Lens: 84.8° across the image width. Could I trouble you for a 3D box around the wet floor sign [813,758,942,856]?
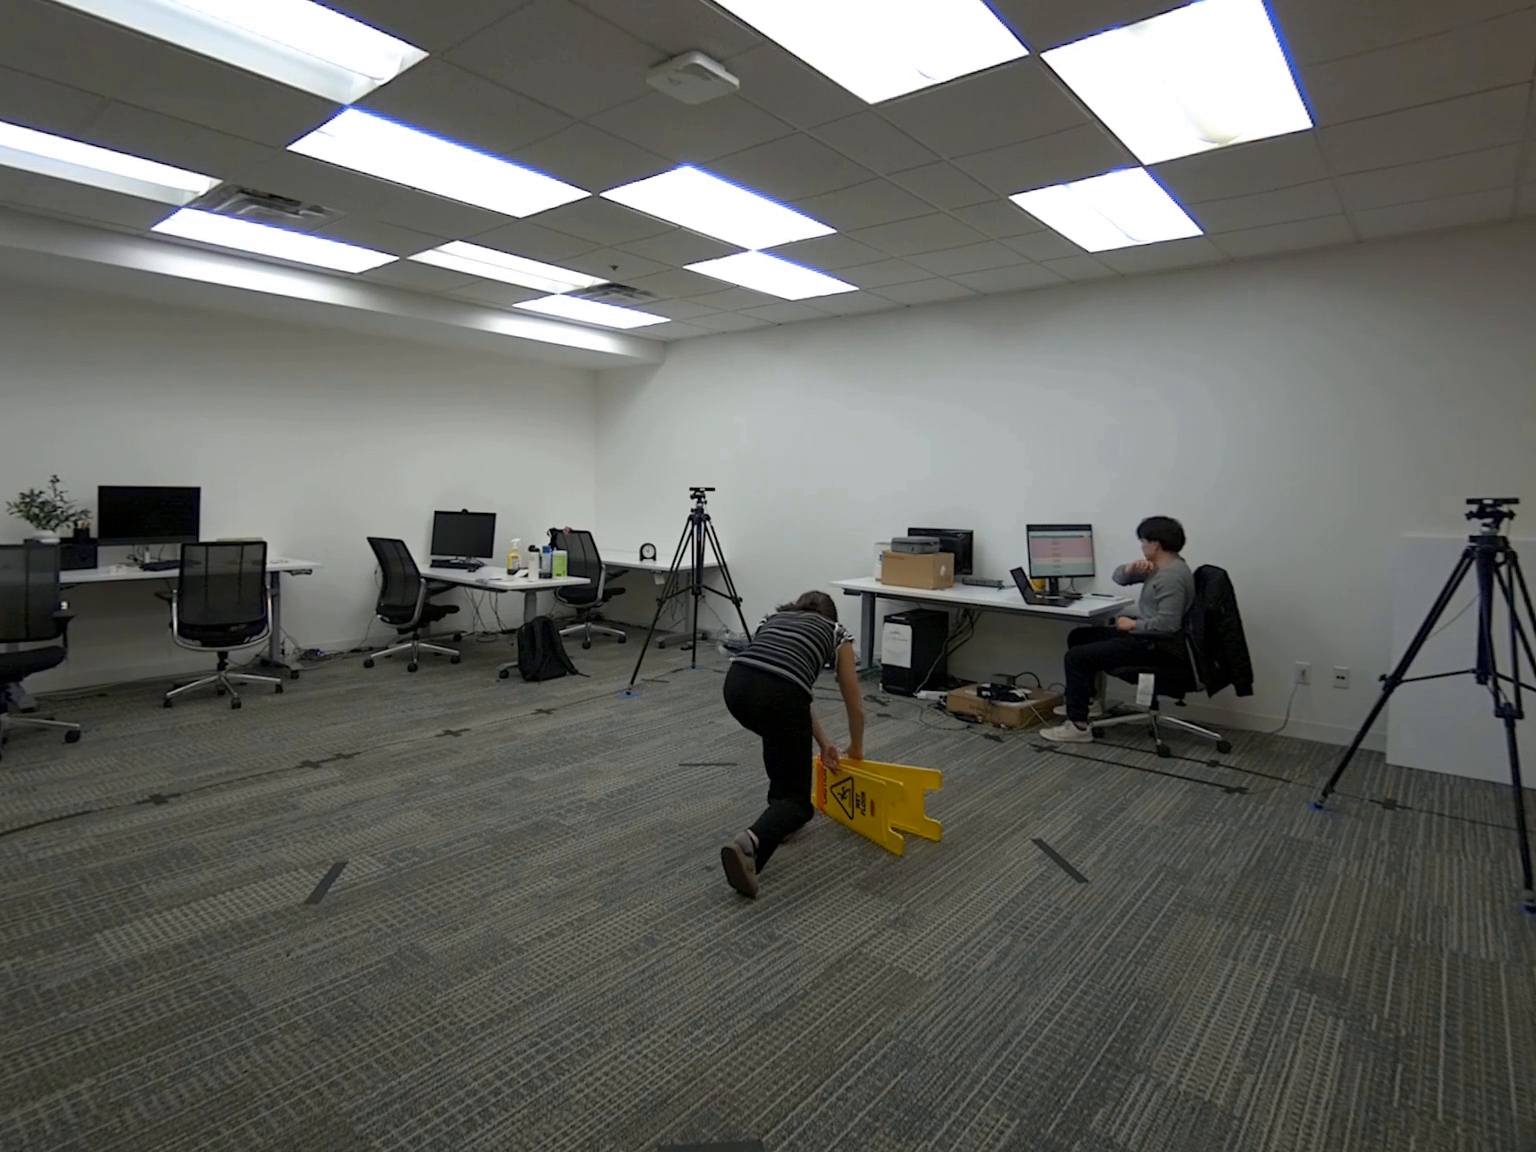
[{"bbox_3d":[0.374,0.910,3.582,0.281,0.282,0.667,-1,3,-41],"label":"wet floor sign"}]
